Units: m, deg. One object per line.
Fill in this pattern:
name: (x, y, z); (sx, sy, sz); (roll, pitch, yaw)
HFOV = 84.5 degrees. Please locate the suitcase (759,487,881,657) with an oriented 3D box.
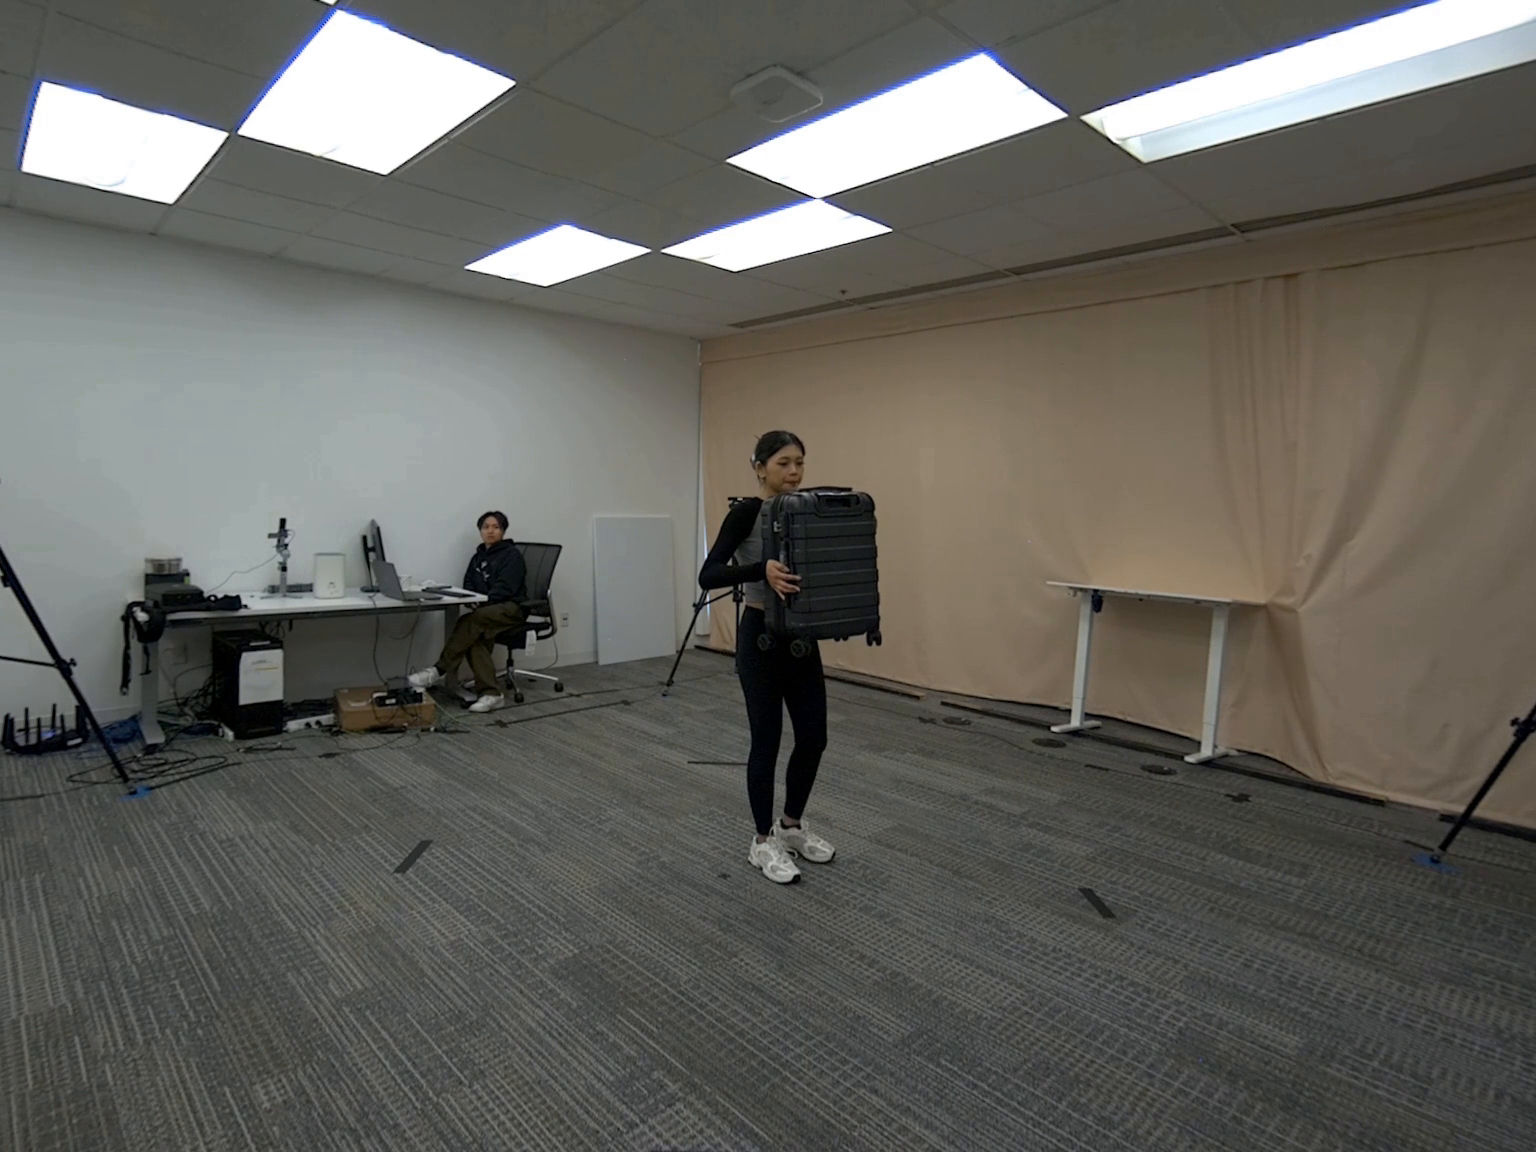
suitcase: (0.179, -0.028, 2.890); (0.368, 0.549, 0.253); (-4, 2, -32)
